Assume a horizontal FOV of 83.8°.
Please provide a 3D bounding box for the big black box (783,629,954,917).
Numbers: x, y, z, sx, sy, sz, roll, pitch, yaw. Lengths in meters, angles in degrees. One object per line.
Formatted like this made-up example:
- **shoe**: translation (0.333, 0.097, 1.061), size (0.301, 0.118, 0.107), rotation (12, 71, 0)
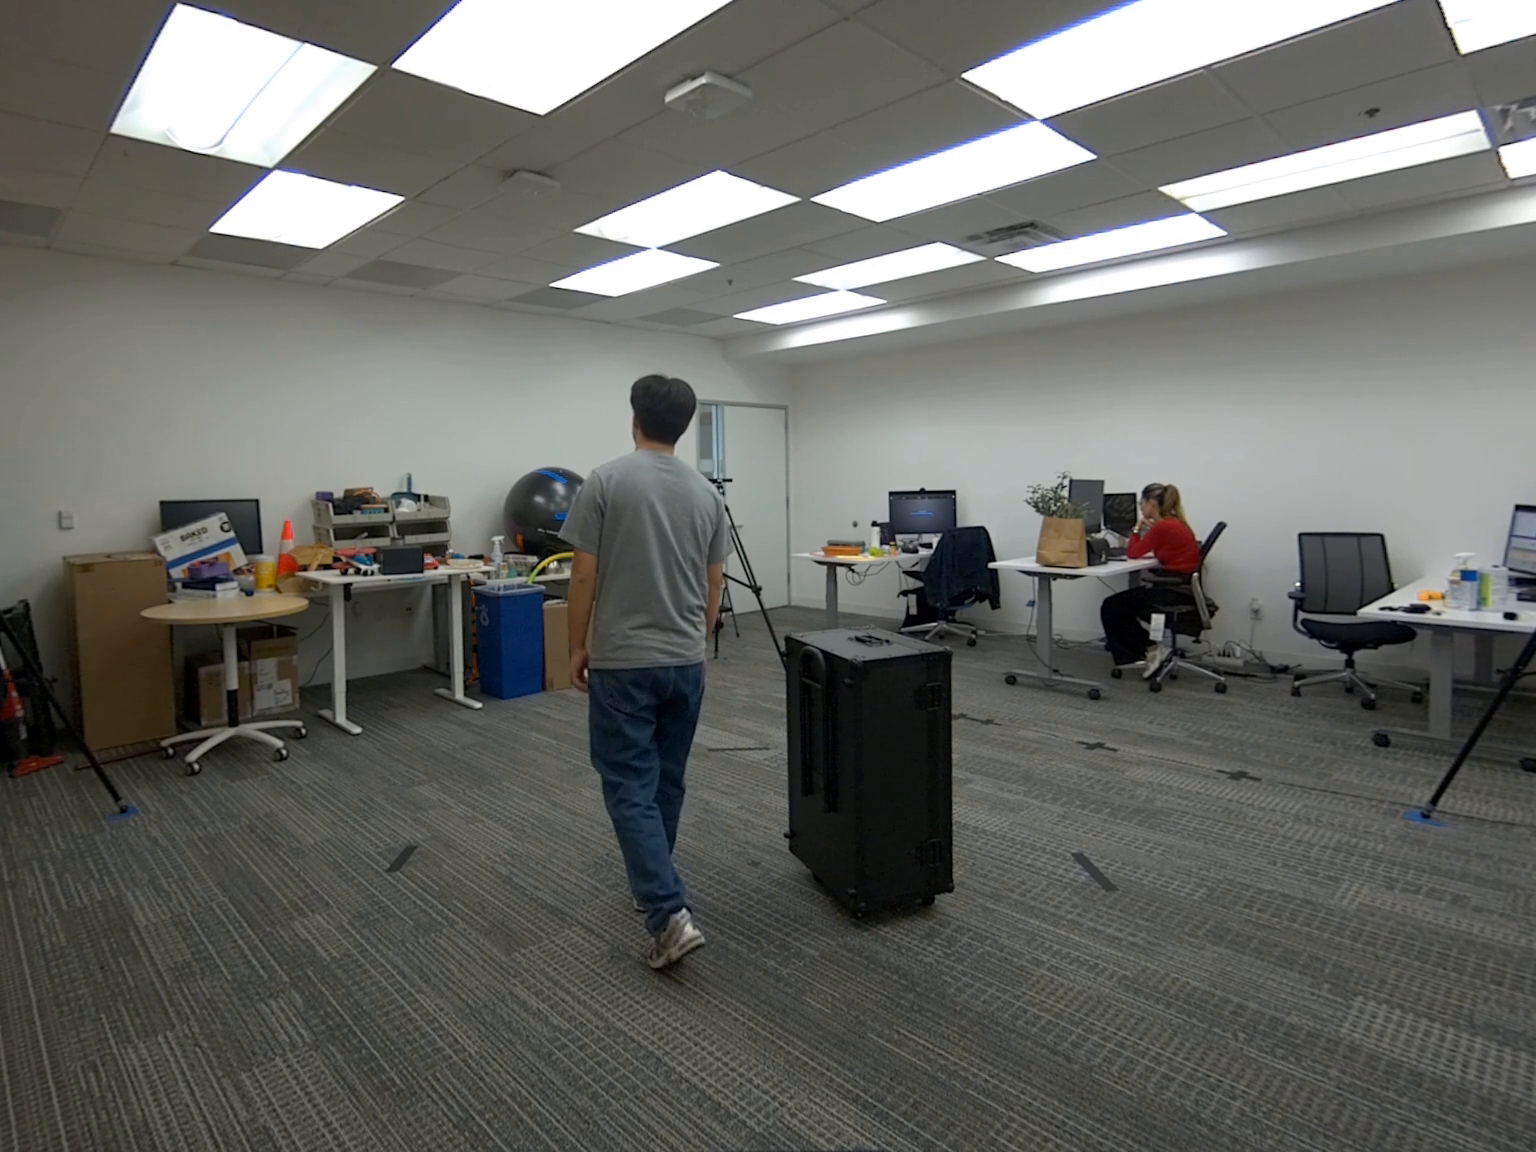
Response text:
- **big black box**: translation (0.323, 0.642, 2.854), size (0.389, 0.857, 0.533), rotation (-4, 6, -22)
